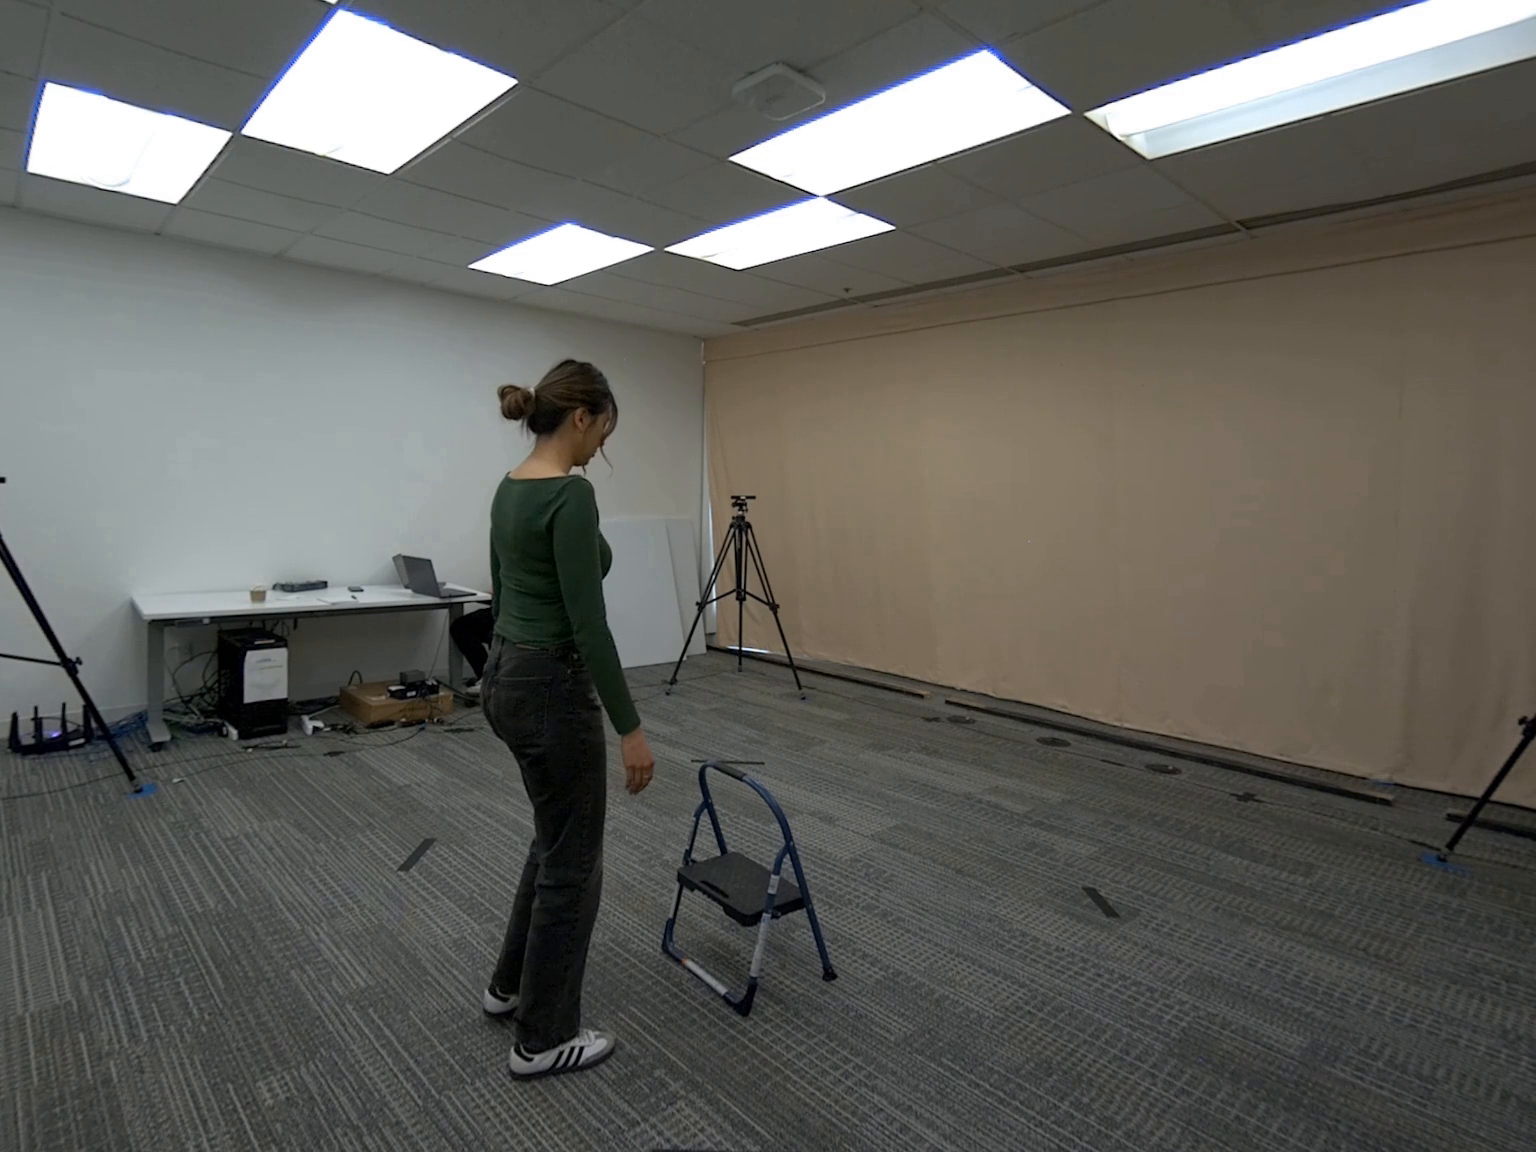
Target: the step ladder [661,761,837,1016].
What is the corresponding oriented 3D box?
[{"bbox_3d":[-0.063,0.857,2.495,0.341,0.604,0.441,-2,5,-40],"label":"step ladder"}]
